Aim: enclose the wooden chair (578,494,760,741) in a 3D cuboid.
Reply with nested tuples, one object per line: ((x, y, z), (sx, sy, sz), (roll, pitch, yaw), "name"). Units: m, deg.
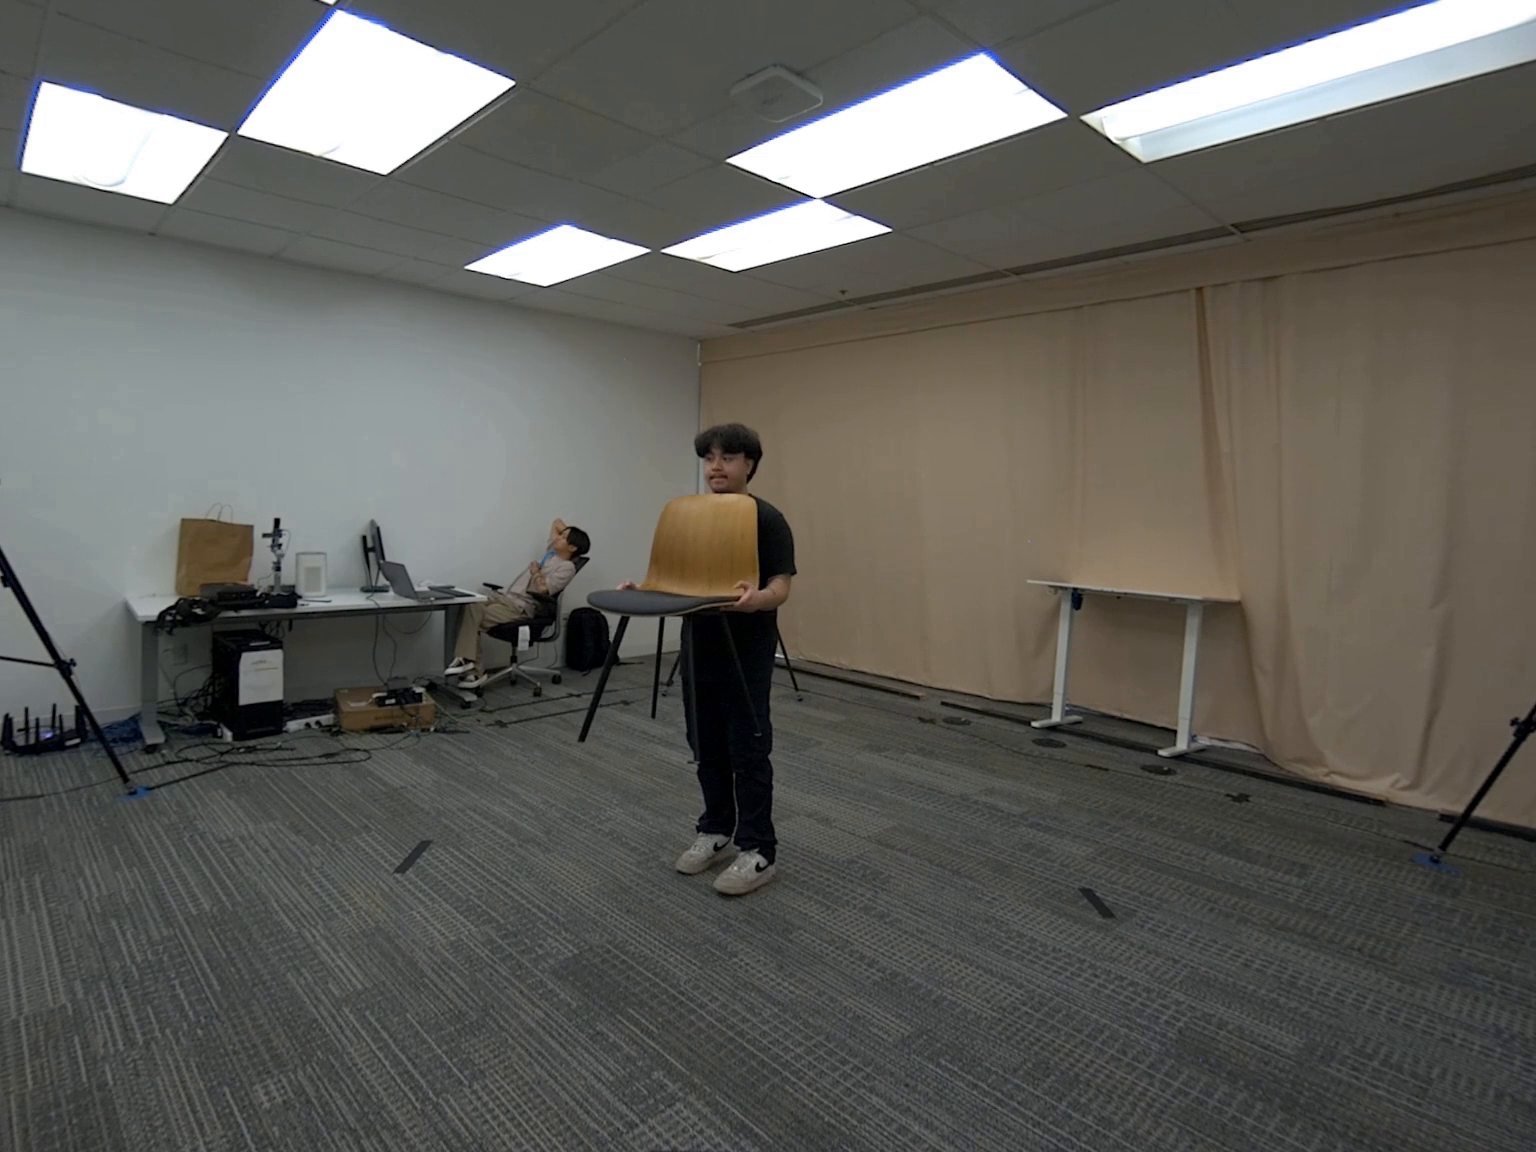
((-0.318, 0.129, 2.830), (0.487, 0.879, 0.512), (3, -3, 26), "wooden chair")
